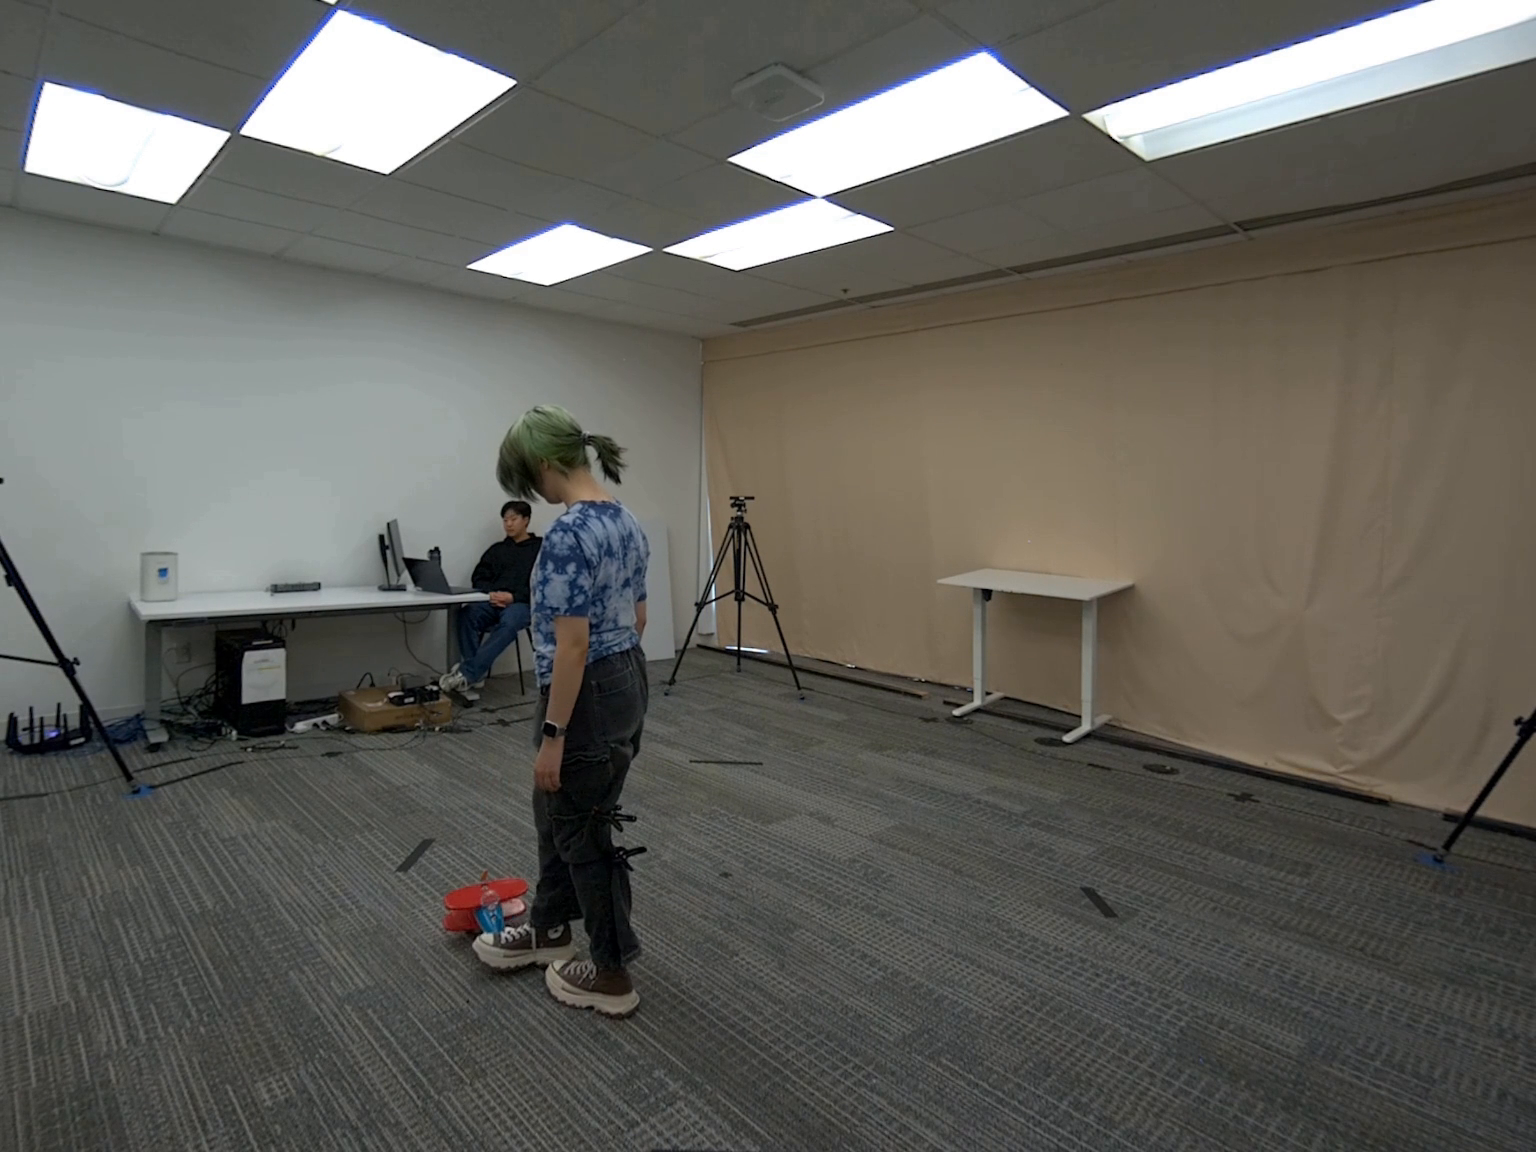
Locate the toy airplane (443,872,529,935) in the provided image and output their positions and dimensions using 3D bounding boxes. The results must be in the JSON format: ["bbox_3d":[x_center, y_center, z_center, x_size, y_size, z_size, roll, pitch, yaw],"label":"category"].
[{"bbox_3d":[-0.863,1.058,2.623,0.265,0.156,0.246,2,5,32],"label":"toy airplane"}]
